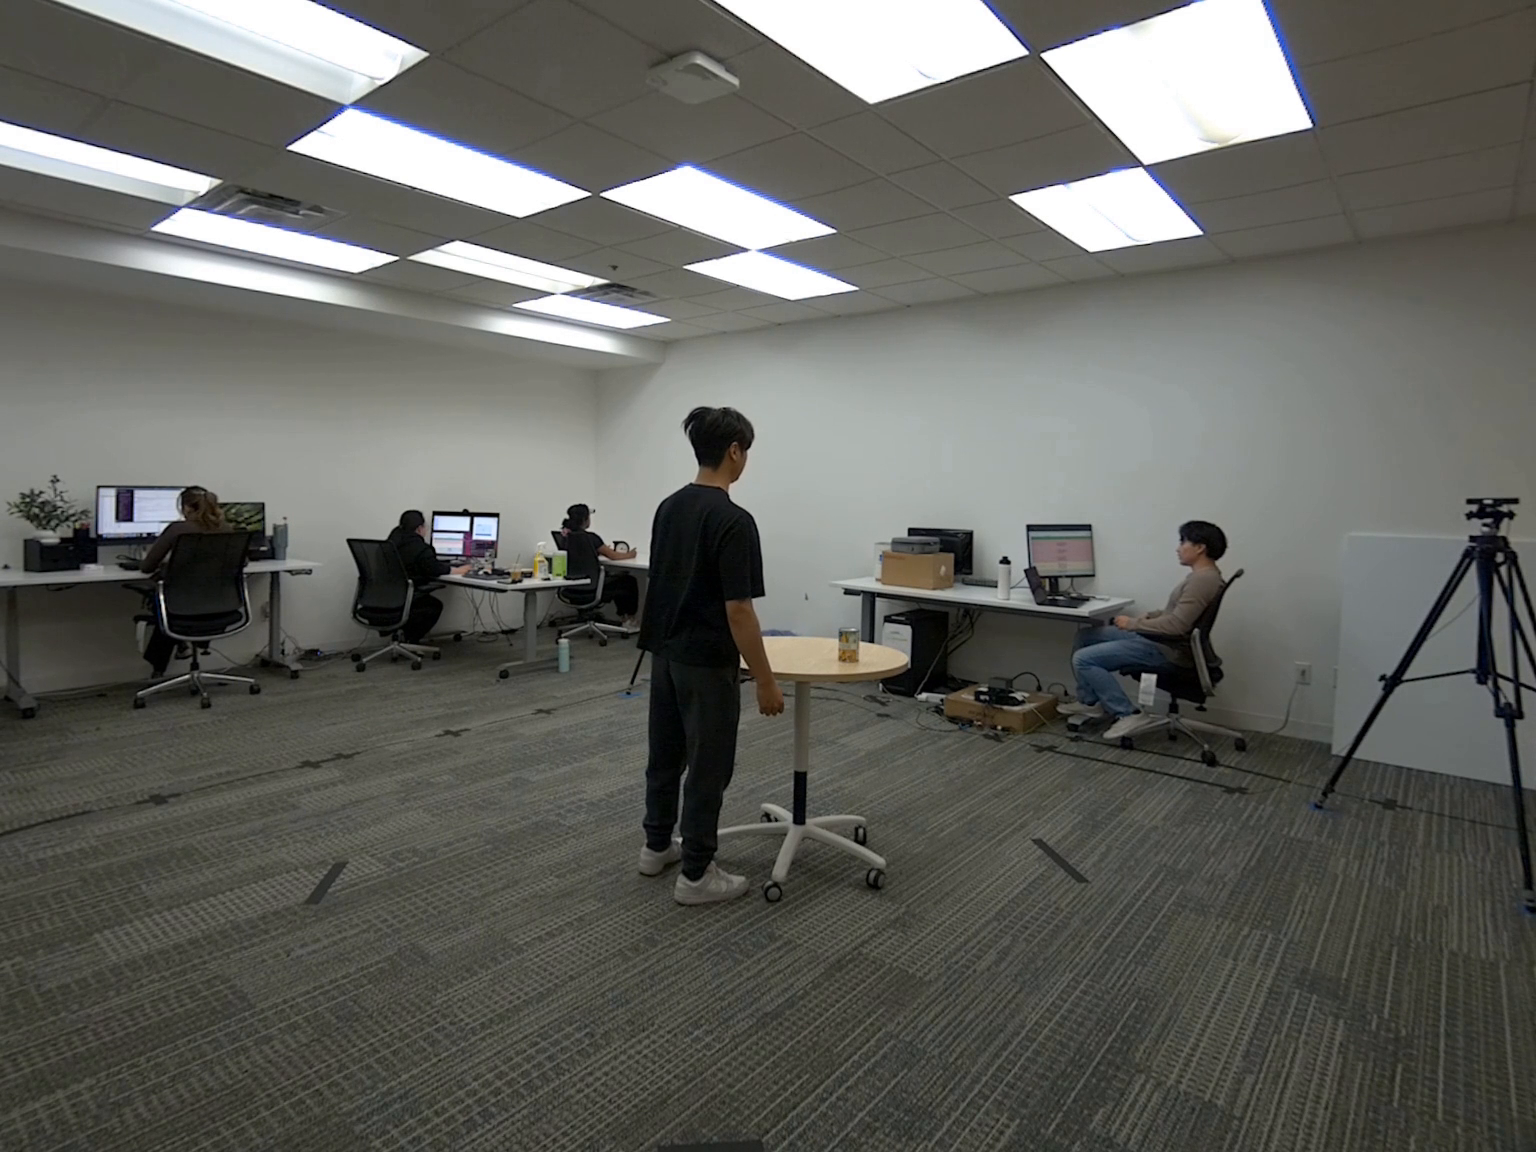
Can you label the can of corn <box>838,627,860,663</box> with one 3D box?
[{"bbox_3d":[0.282,0.246,3.033,0.074,0.110,0.075,3,6,-2],"label":"can of corn"}]
